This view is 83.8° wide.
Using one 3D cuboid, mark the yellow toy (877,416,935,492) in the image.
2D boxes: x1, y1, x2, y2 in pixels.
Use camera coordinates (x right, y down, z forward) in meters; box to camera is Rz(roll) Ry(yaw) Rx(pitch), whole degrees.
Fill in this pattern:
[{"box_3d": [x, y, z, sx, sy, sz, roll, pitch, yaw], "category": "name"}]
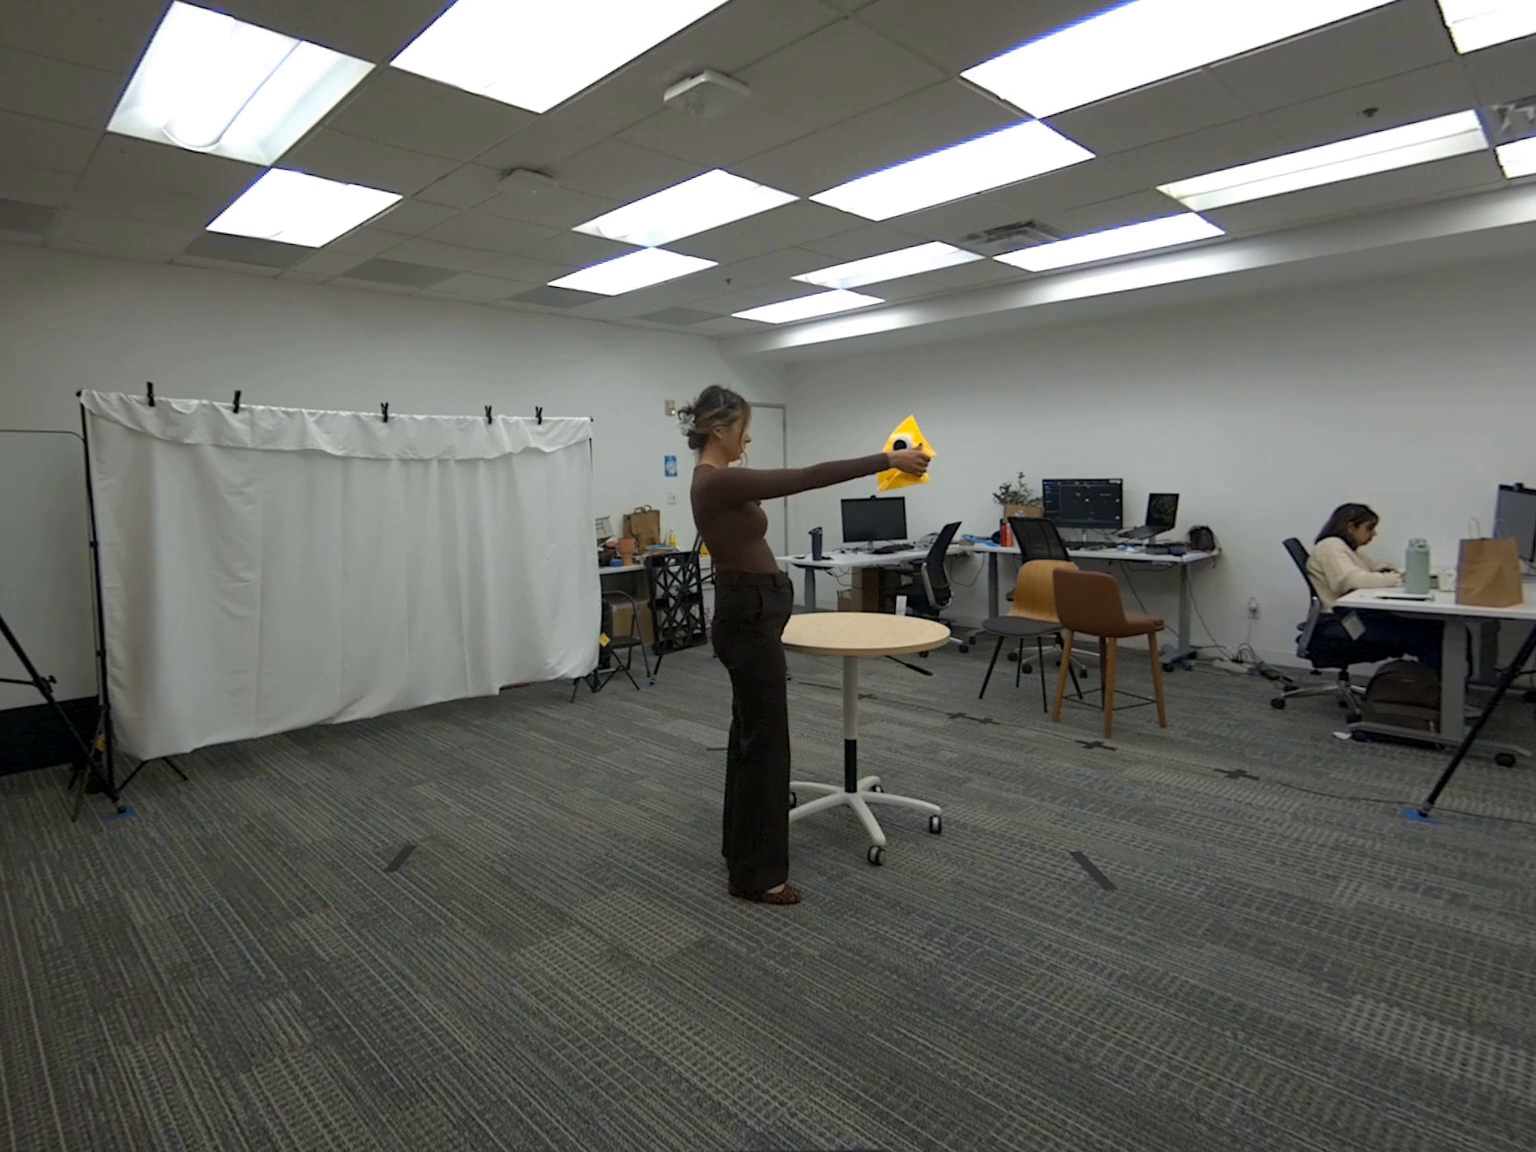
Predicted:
[{"box_3d": [0.447, -0.415, 2.861, 0.193, 0.231, 0.205, -11, 1, -1], "category": "yellow toy"}]
